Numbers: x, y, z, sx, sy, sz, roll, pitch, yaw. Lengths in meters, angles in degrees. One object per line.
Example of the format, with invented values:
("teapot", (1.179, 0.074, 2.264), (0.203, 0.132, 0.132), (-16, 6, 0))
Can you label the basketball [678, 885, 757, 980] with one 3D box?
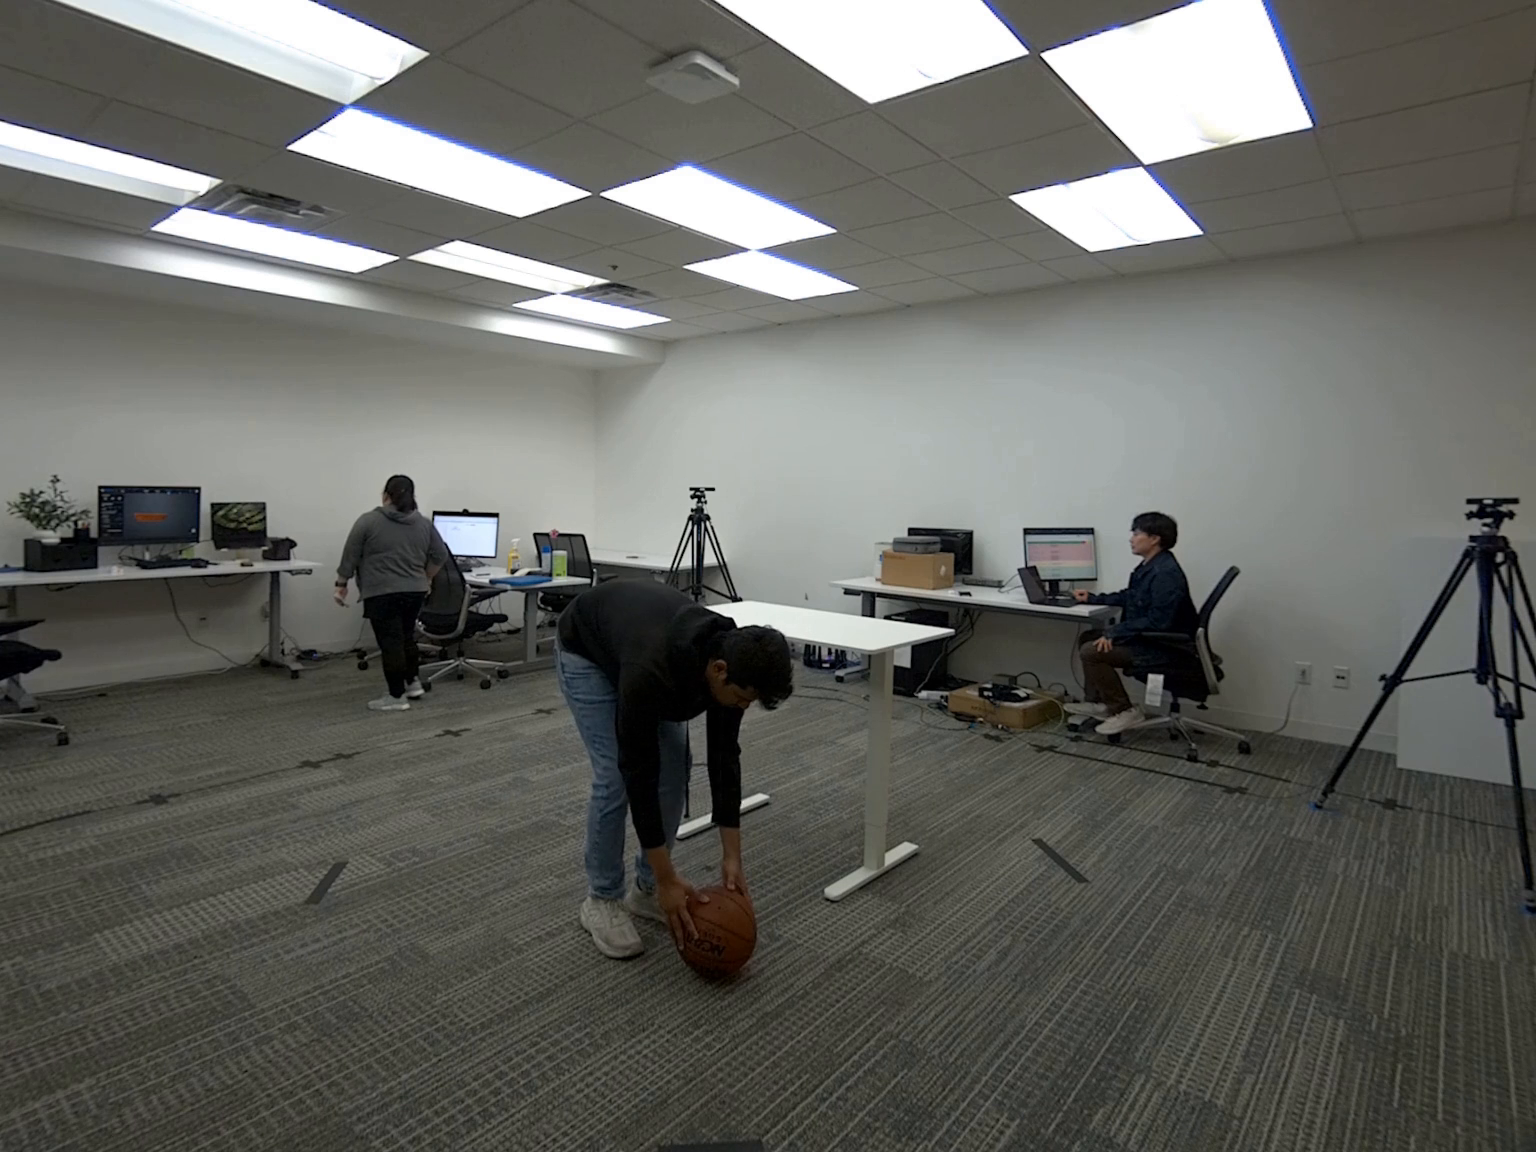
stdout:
("basketball", (-0.158, 1.005, 2.432), (0.235, 0.235, 0.237), (1, 4, -2))
